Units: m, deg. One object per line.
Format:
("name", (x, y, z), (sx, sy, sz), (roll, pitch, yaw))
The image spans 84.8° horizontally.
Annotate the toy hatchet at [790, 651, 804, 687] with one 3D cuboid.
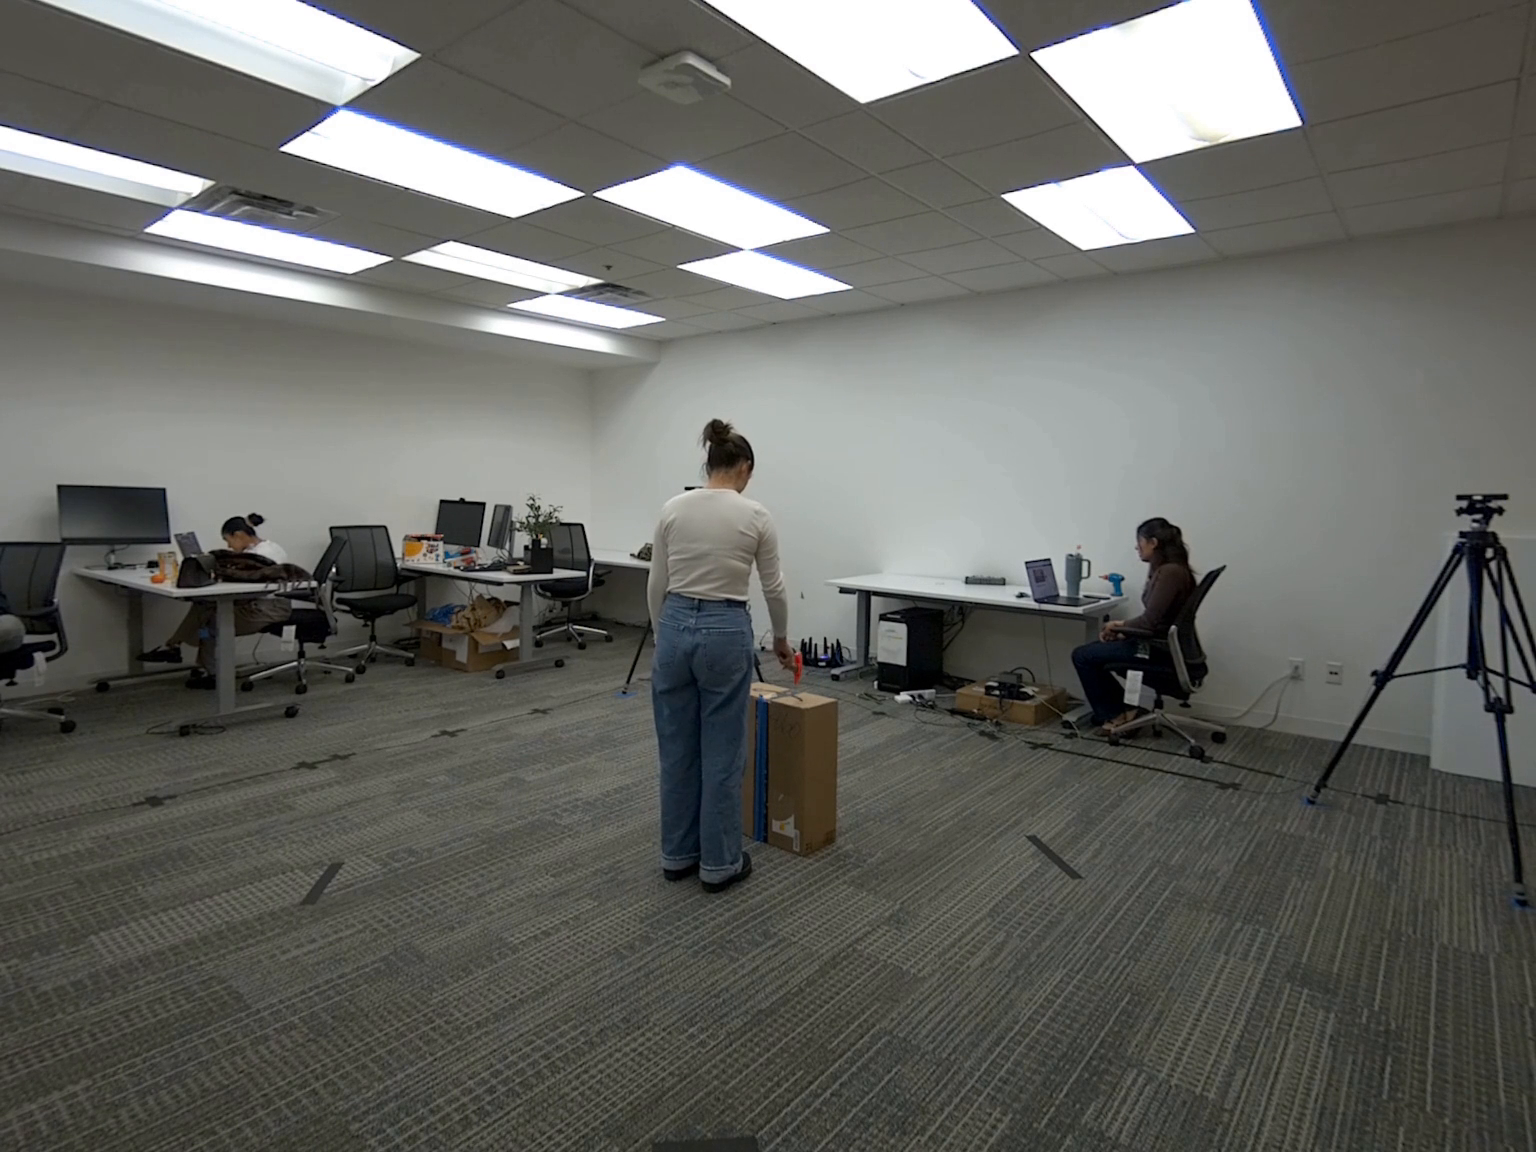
("toy hatchet", (0.083, 0.322, 3.302), (0.030, 0.133, 0.260), (6, -29, 21))
